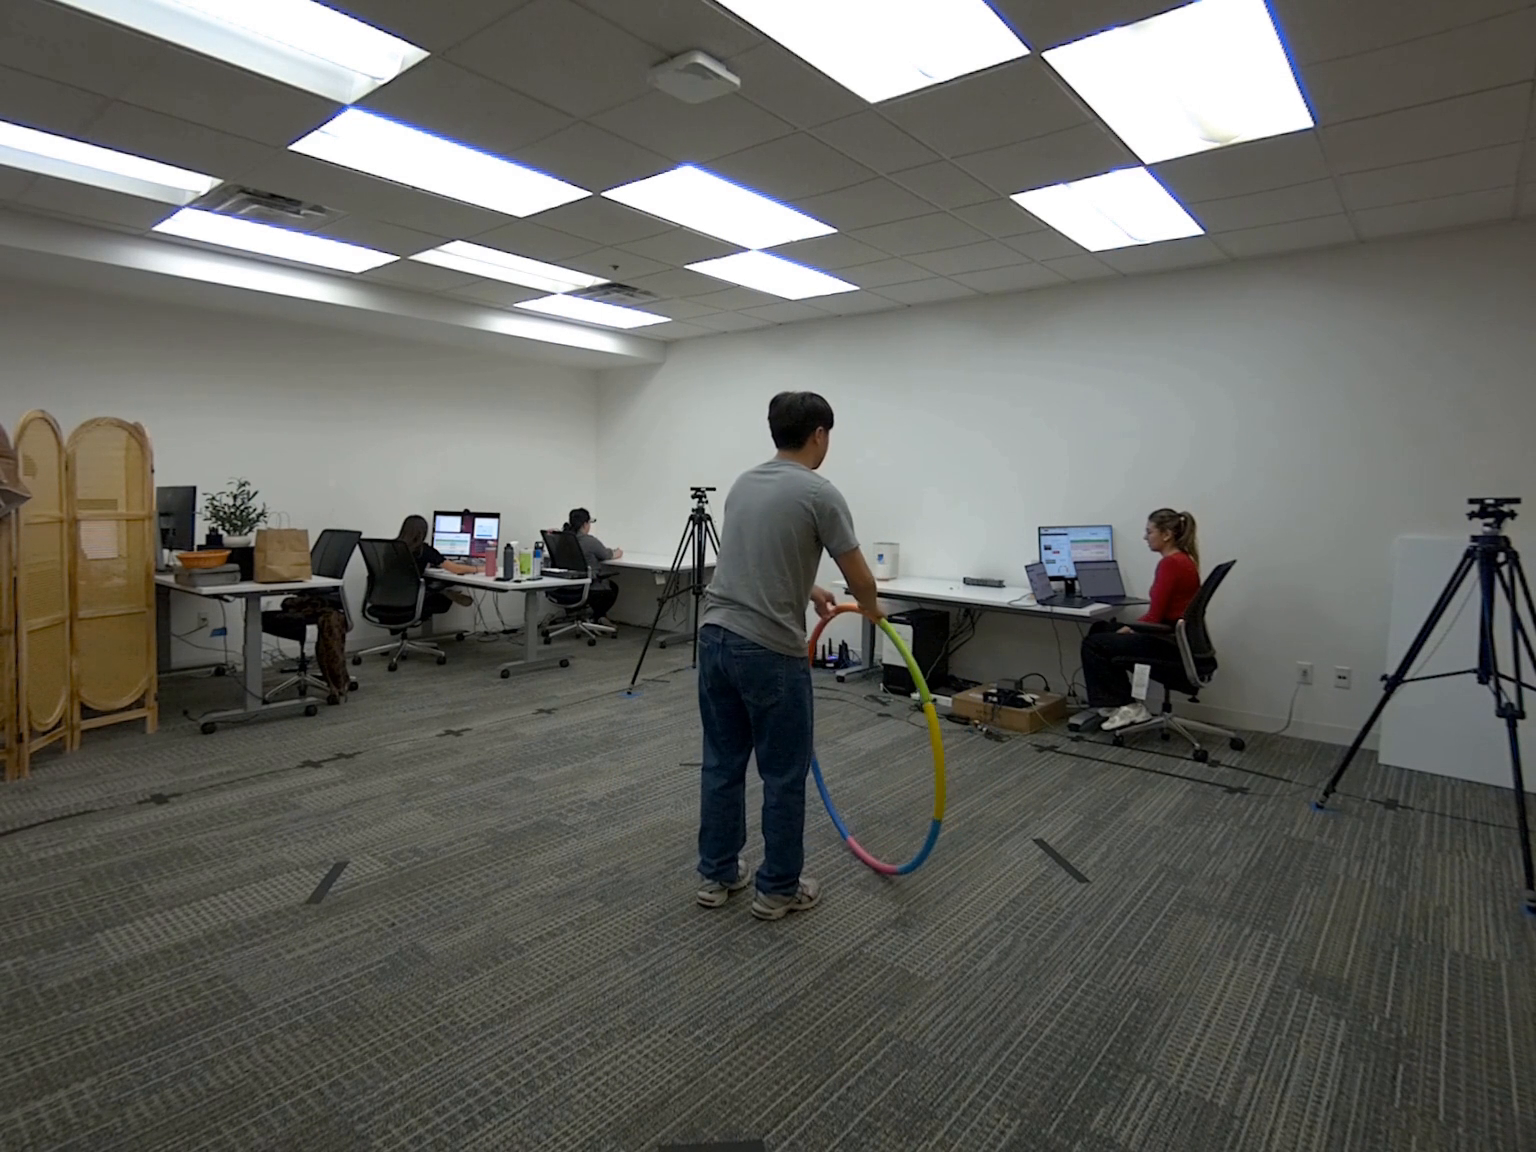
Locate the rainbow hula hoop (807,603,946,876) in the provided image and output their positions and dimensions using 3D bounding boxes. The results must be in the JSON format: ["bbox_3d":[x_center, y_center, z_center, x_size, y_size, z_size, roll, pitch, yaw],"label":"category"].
[{"bbox_3d":[0.346,0.589,3.154,0.035,0.974,1.003,-4,6,-22],"label":"rainbow hula hoop"}]
